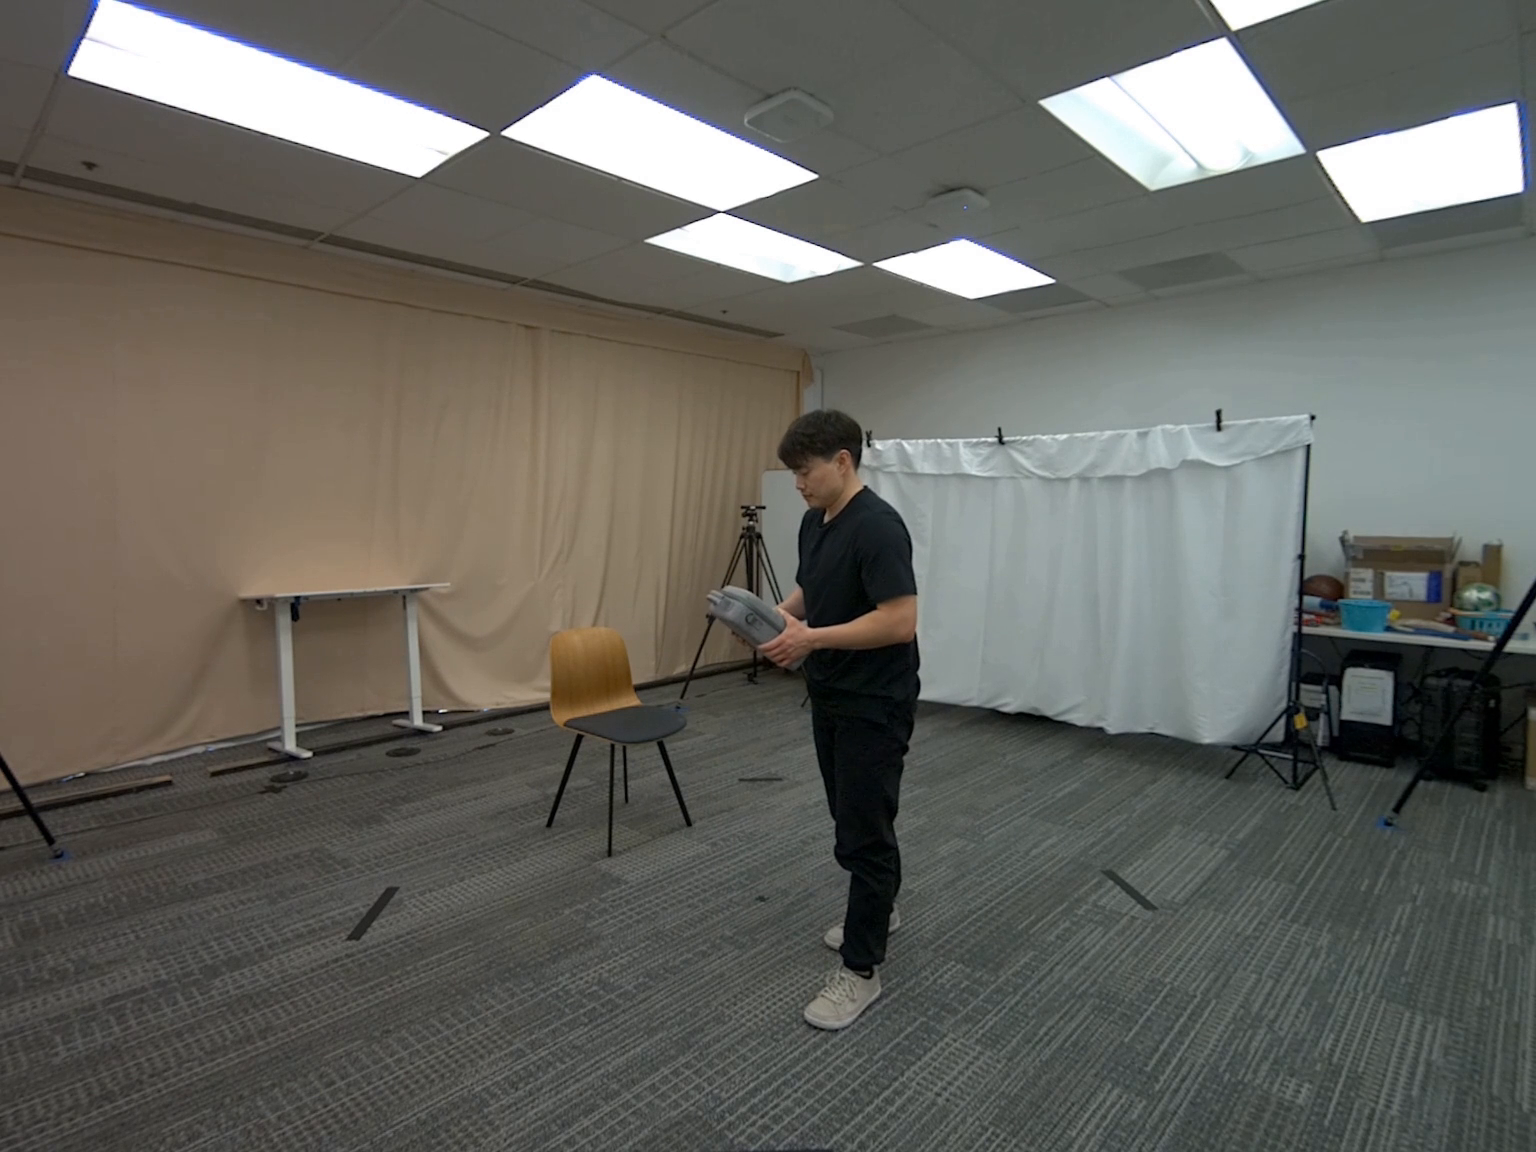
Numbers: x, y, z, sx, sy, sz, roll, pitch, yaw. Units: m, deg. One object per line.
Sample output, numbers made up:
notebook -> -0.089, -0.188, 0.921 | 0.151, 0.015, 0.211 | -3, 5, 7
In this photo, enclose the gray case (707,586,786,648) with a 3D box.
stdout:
gray case -> -0.018, 0.135, 2.360 | 0.256, 0.104, 0.262 | 37, -7, -16
